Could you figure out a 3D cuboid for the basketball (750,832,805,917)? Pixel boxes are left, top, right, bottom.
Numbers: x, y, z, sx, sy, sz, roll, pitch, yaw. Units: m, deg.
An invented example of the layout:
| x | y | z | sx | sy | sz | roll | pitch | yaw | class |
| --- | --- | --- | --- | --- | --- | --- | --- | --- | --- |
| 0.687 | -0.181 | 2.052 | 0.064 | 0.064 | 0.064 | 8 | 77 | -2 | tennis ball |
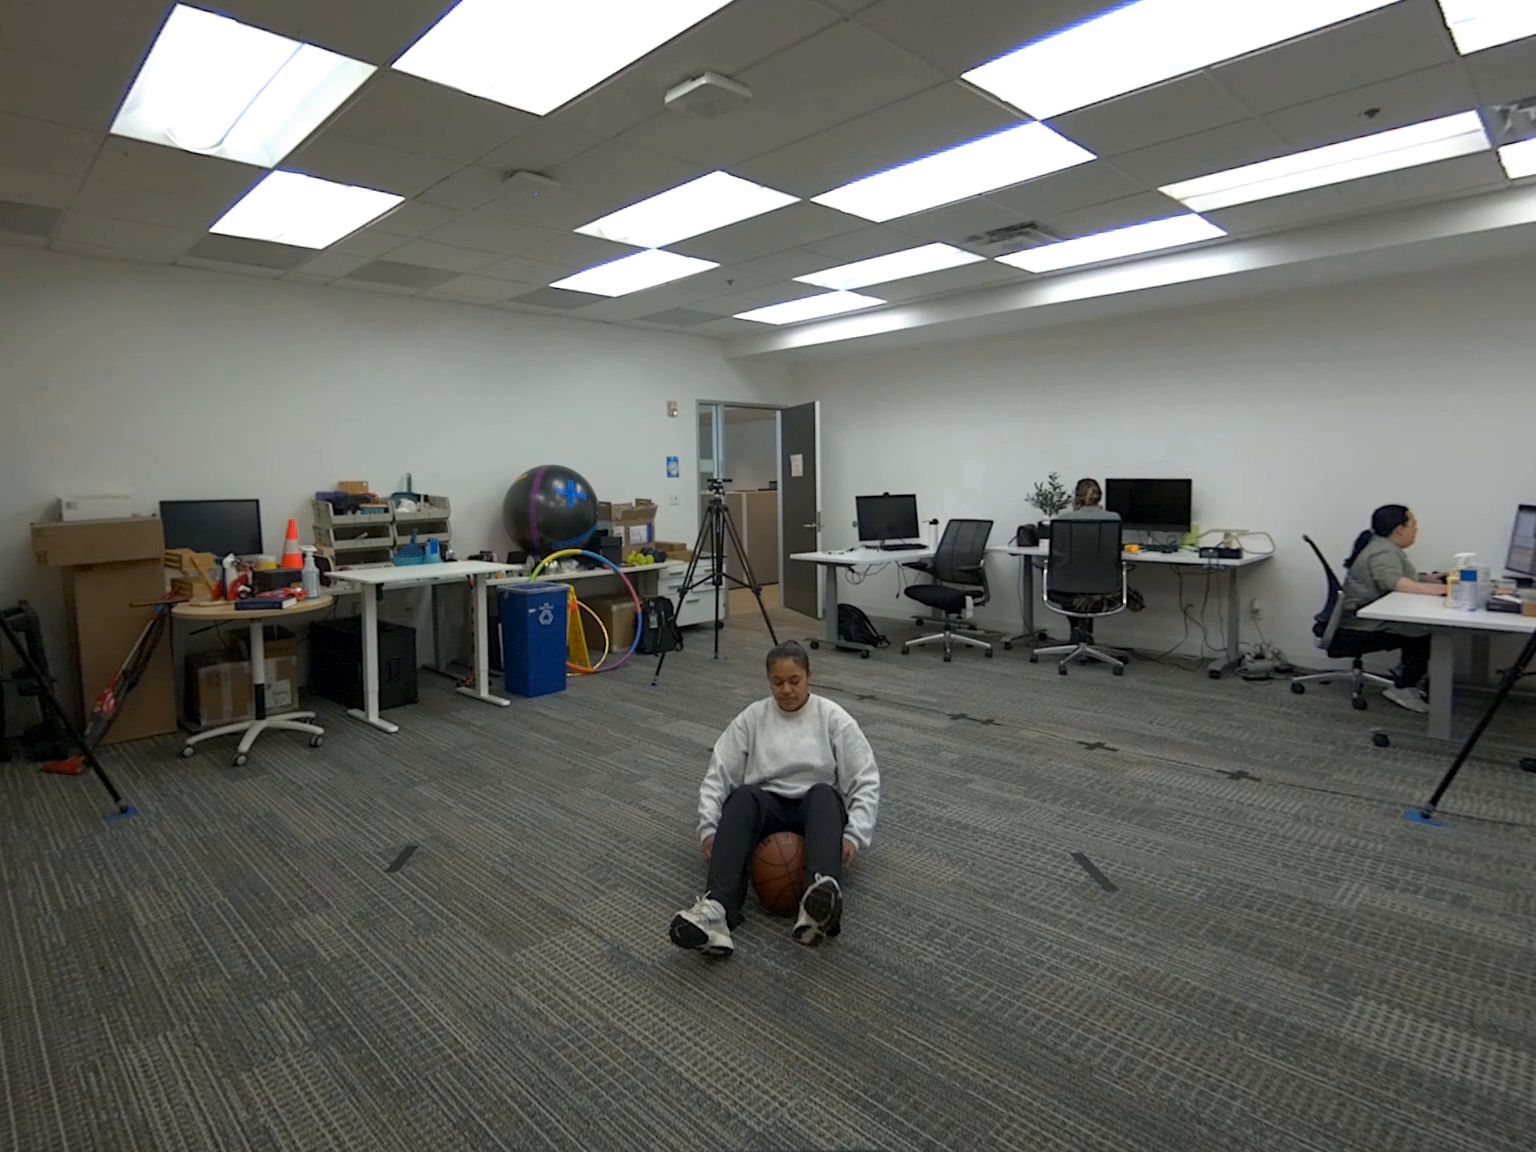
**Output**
| x | y | z | sx | sy | sz | roll | pitch | yaw | class |
| --- | --- | --- | --- | --- | --- | --- | --- | --- | --- |
| 0.055 | 0.961 | 2.783 | 0.236 | 0.235 | 0.237 | -1 | 5 | -2 | basketball |
